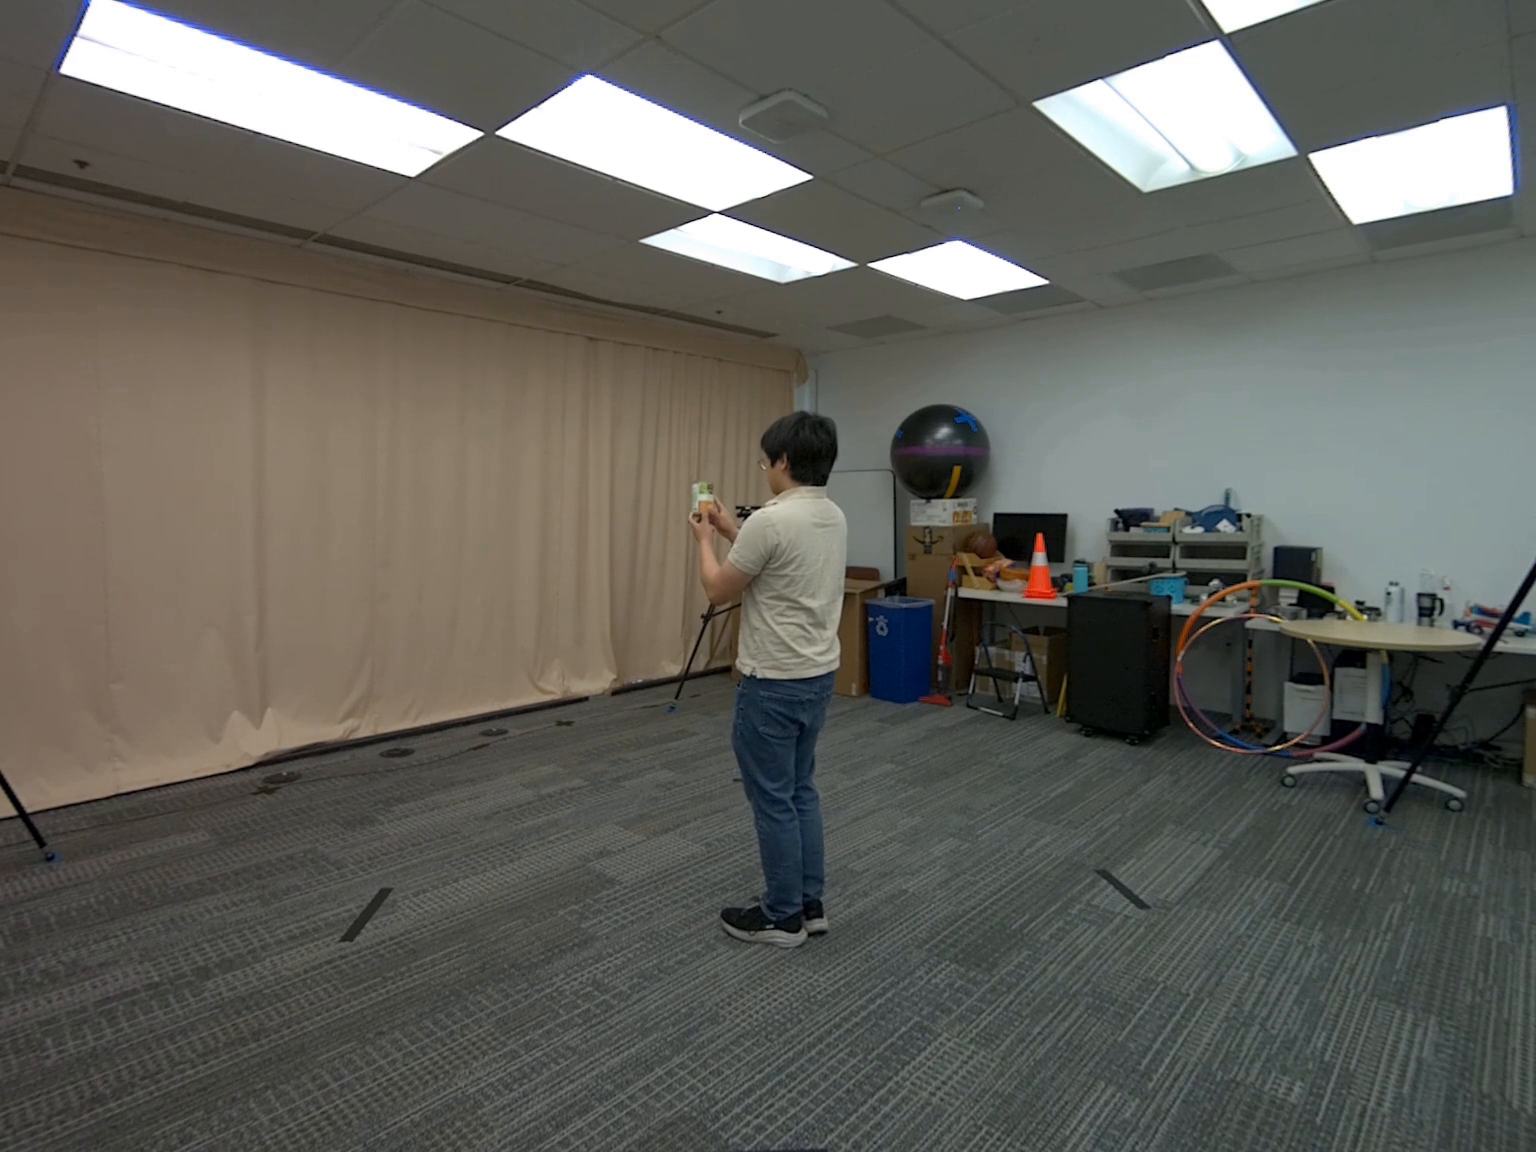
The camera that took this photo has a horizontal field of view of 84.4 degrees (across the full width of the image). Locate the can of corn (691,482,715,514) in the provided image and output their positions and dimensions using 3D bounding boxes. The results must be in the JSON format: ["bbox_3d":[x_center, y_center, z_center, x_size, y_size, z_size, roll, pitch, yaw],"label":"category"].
[{"bbox_3d":[-0.218,-0.262,2.879,0.074,0.112,0.074,-3,-10,-2],"label":"can of corn"}]
